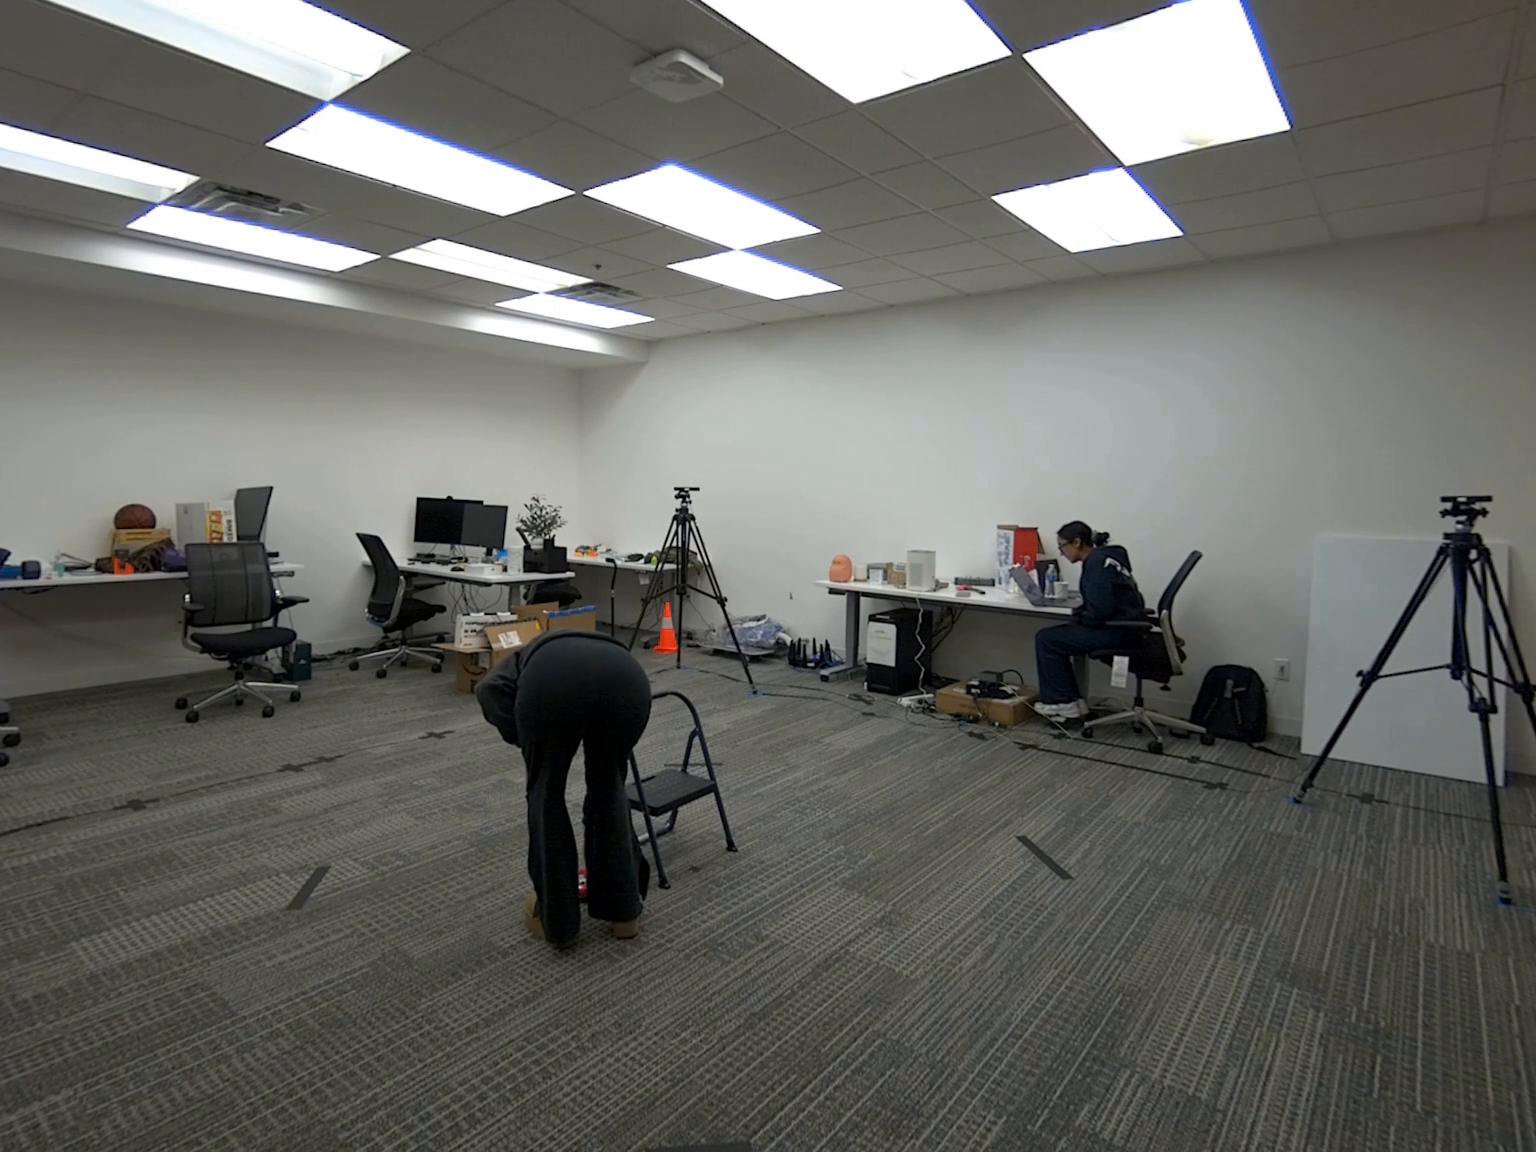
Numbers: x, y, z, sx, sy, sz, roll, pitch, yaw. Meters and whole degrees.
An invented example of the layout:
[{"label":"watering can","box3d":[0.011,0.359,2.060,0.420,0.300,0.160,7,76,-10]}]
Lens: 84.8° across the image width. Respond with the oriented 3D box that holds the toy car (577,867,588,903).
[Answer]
[{"label":"toy car","box3d":[-0.593,1.042,2.921,0.135,0.083,0.245,7,-4,40]}]
